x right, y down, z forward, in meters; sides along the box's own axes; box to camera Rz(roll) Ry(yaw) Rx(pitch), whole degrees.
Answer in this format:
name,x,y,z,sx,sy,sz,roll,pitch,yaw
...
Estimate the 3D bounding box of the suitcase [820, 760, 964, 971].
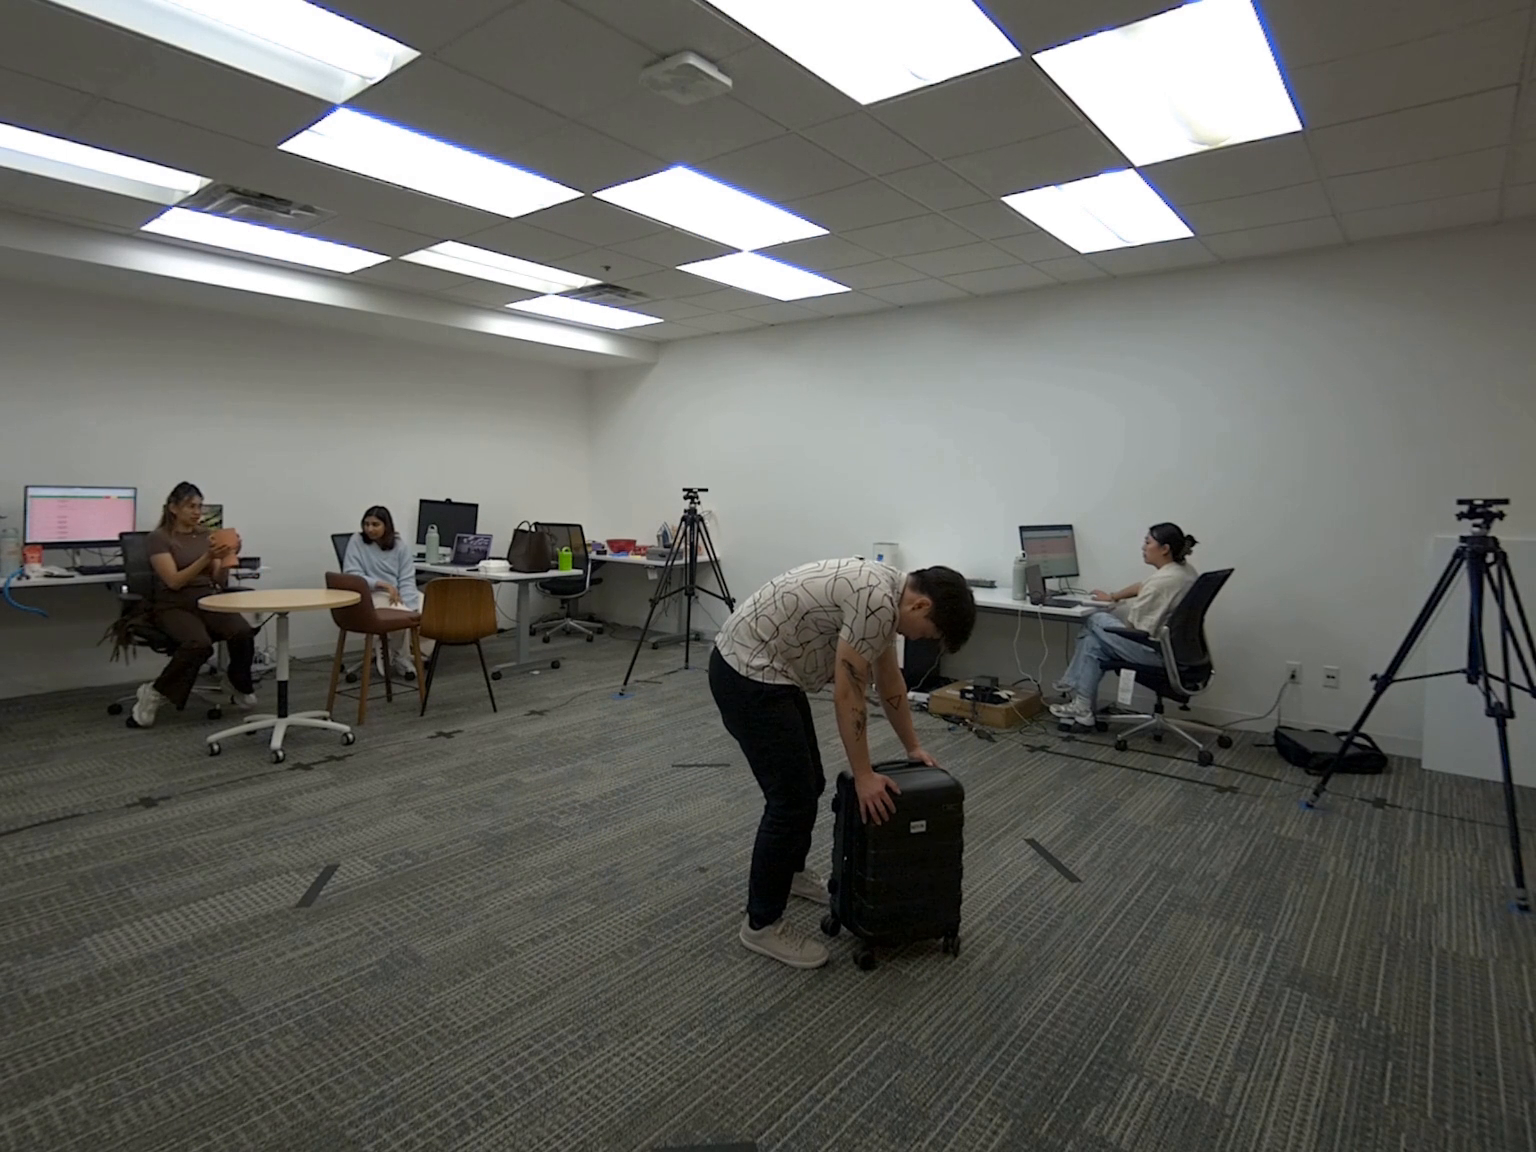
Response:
name,x,y,z,sx,sy,sz,roll,pitch,yaw
suitcase,0.400,0.859,2.625,0.367,0.549,0.254,2,1,-22
